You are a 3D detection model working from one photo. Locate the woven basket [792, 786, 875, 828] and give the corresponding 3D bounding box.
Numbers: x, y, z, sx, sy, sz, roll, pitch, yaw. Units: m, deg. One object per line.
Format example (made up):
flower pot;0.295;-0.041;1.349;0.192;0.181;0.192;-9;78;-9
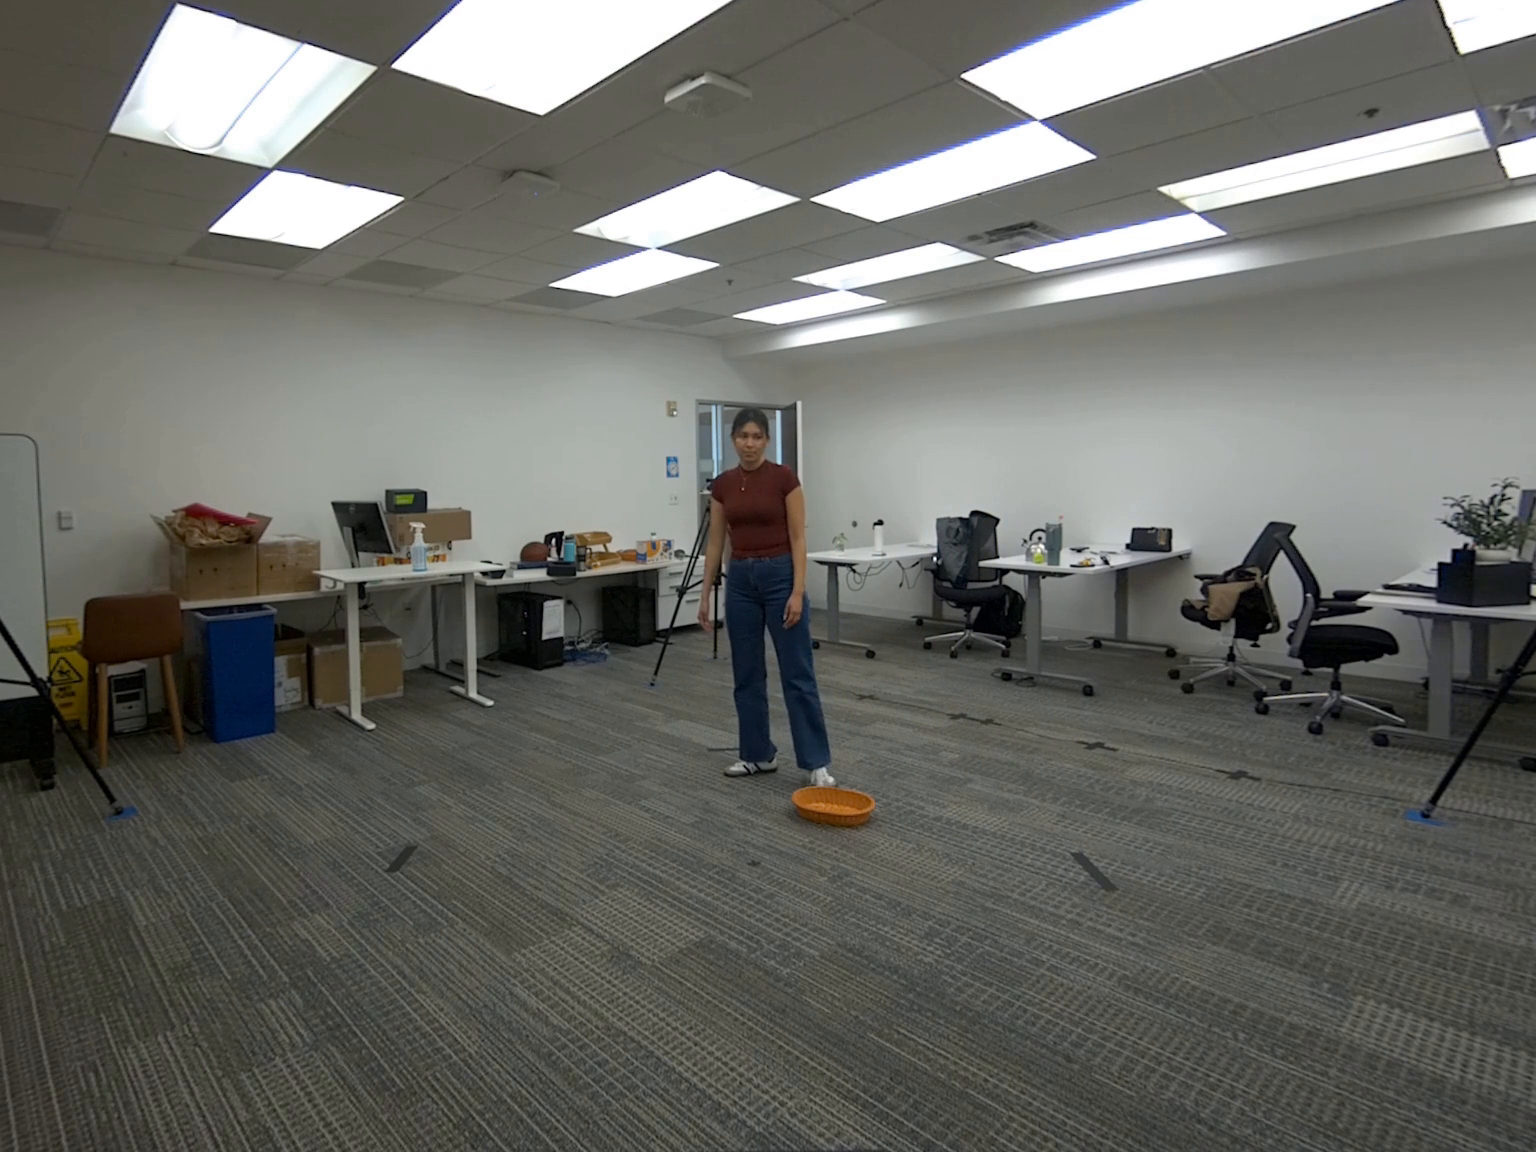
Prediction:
woven basket;0.264;0.952;3.525;0.359;0.073;0.248;3;9;28
